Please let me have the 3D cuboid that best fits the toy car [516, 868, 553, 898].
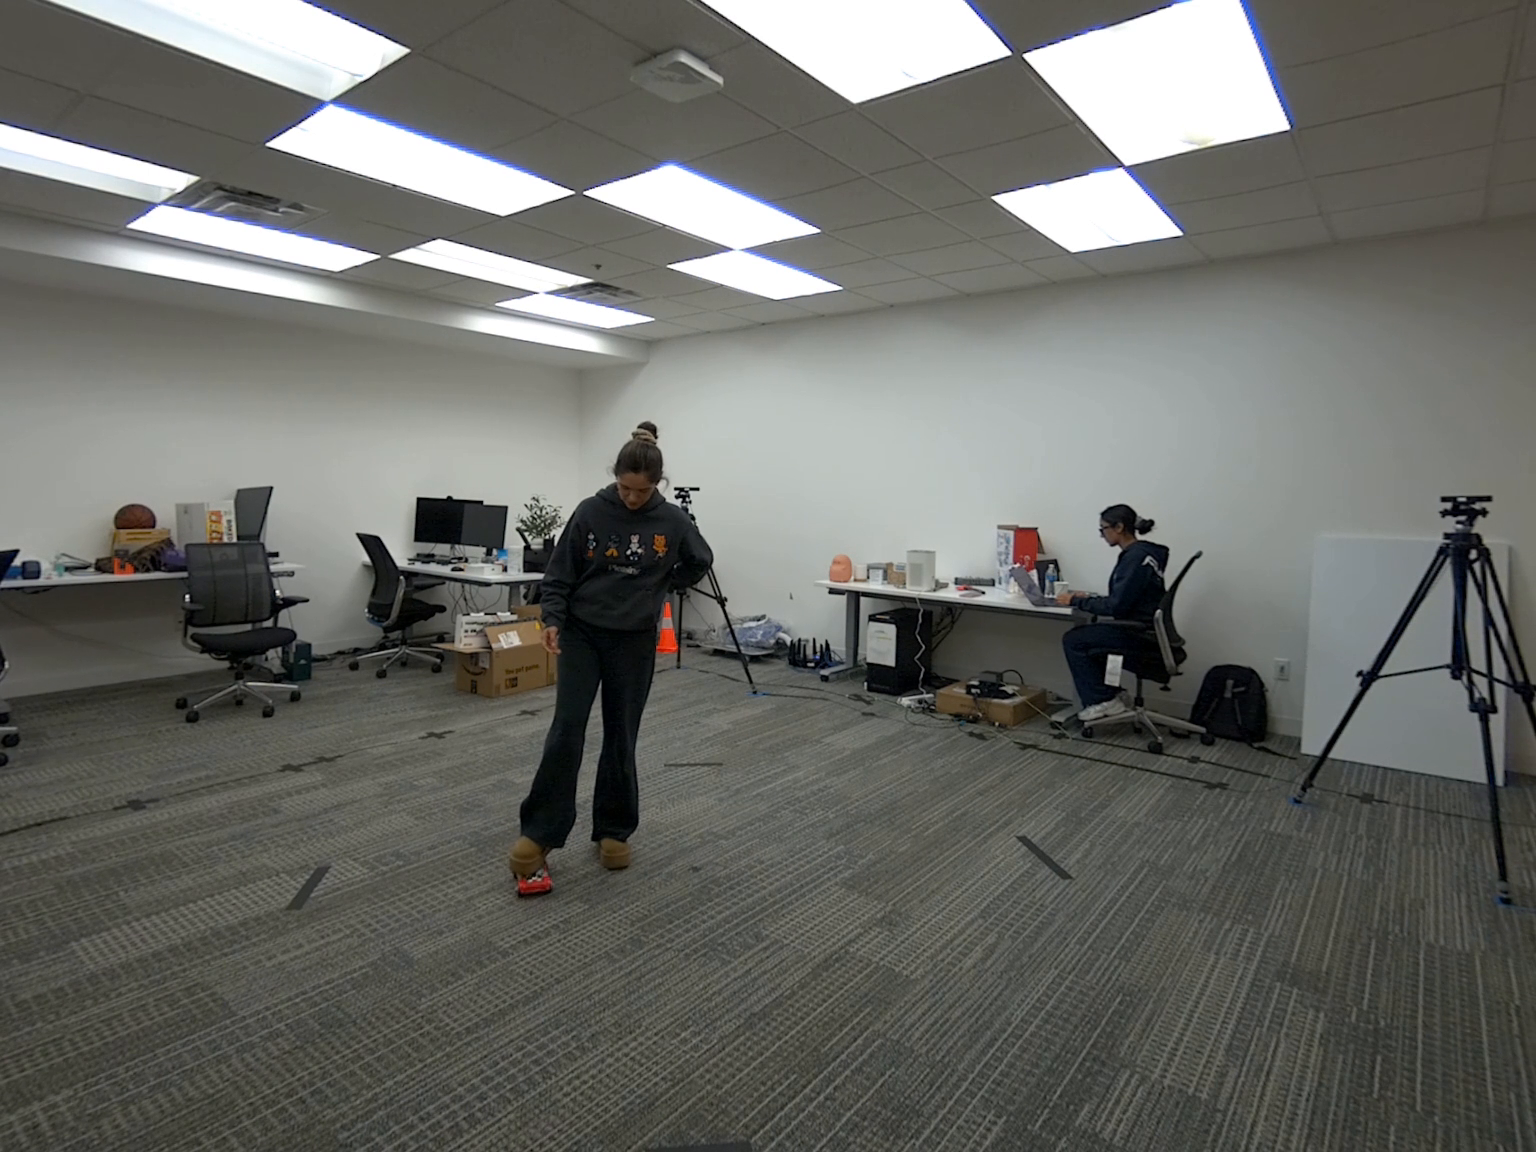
[{"bbox_3d":[-0.832,1.042,2.982,0.128,0.082,0.263,-1,16,-20],"label":"toy car"}]
